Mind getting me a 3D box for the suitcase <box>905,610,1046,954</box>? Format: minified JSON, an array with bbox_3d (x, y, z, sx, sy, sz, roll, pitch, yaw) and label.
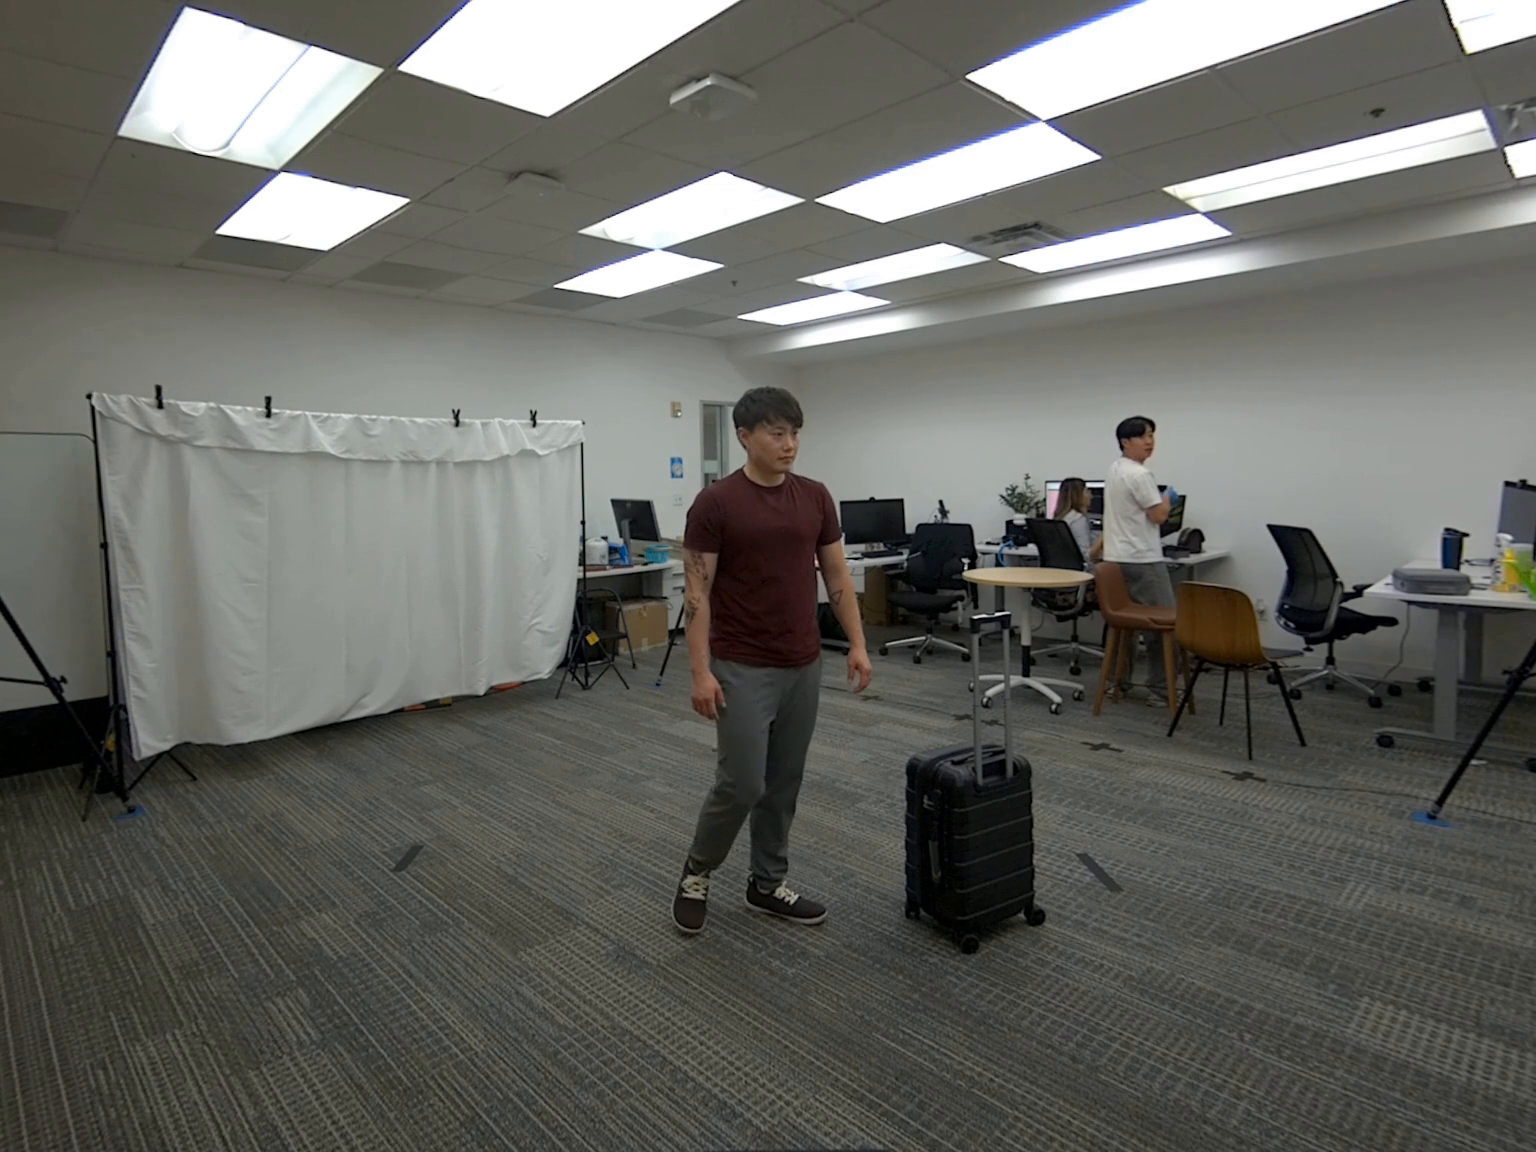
[{"bbox_3d":[0.629,0.609,2.658,0.375,0.976,0.263,-3,3,-29],"label":"suitcase"}]
